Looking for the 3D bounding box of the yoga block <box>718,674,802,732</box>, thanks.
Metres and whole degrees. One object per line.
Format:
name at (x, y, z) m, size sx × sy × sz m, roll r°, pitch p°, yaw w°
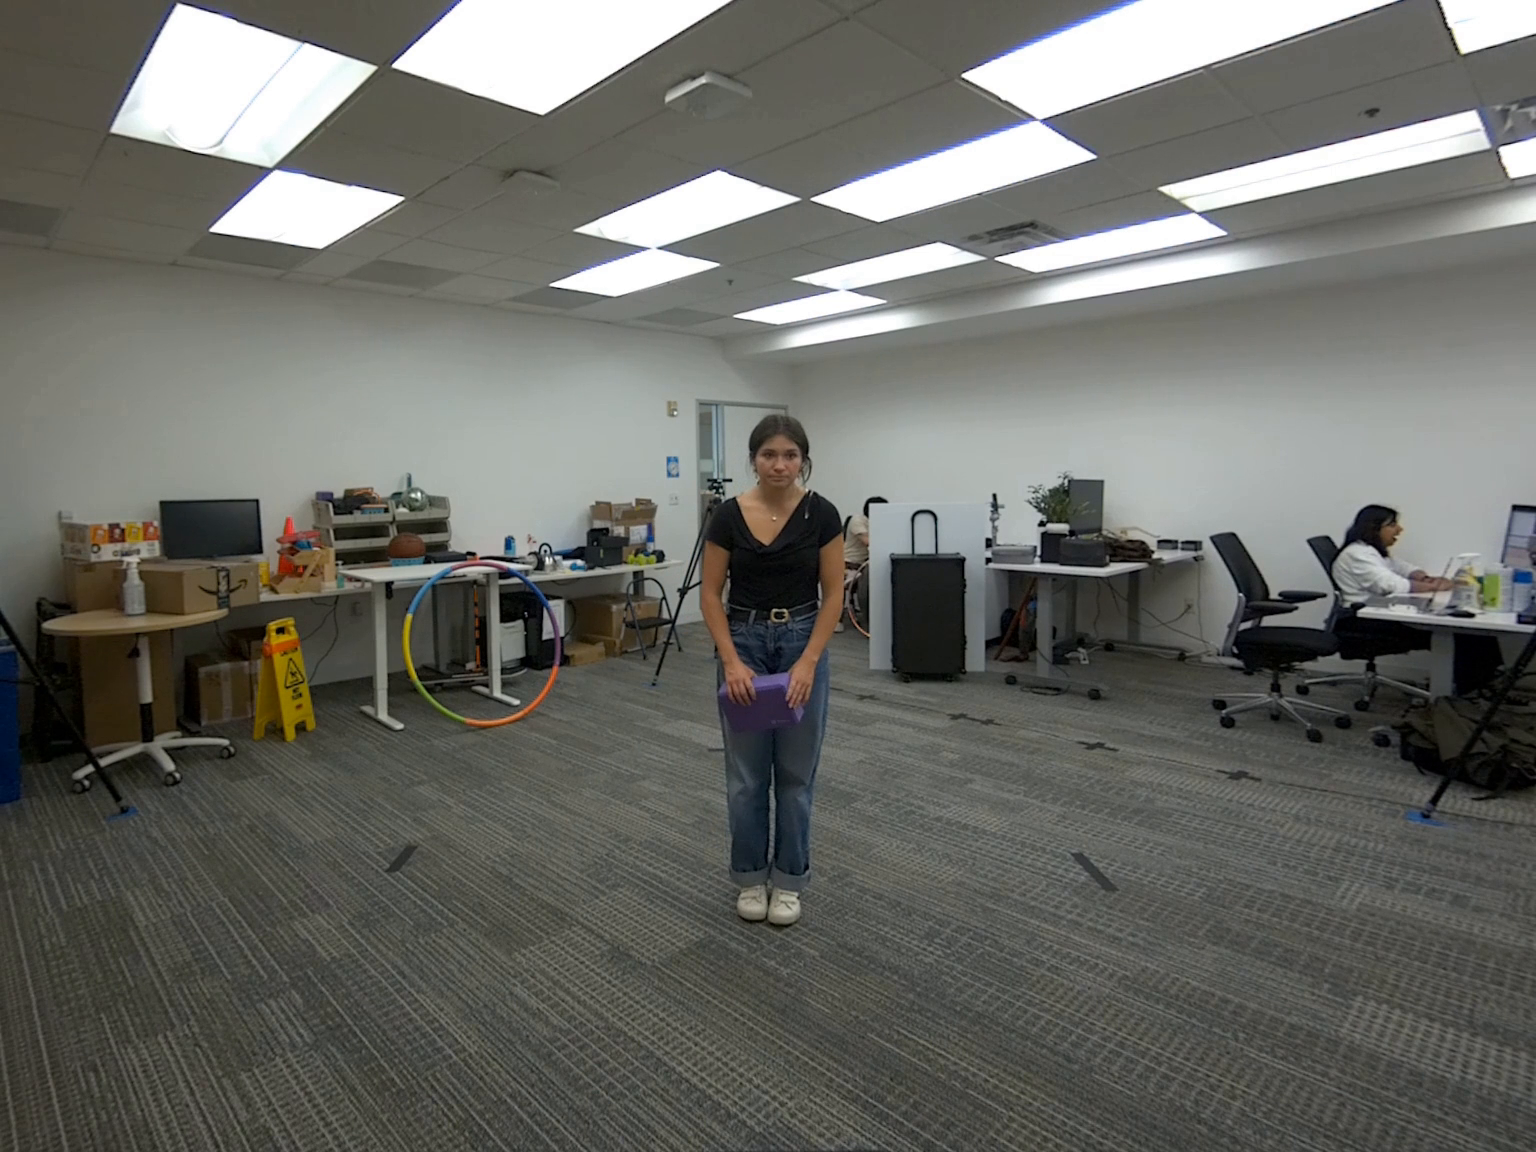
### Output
yoga block at (-0.018, 0.393, 2.621) m, size 0.233 × 0.147 × 0.076 m, roll -12°, pitch 14°, yaw 27°
